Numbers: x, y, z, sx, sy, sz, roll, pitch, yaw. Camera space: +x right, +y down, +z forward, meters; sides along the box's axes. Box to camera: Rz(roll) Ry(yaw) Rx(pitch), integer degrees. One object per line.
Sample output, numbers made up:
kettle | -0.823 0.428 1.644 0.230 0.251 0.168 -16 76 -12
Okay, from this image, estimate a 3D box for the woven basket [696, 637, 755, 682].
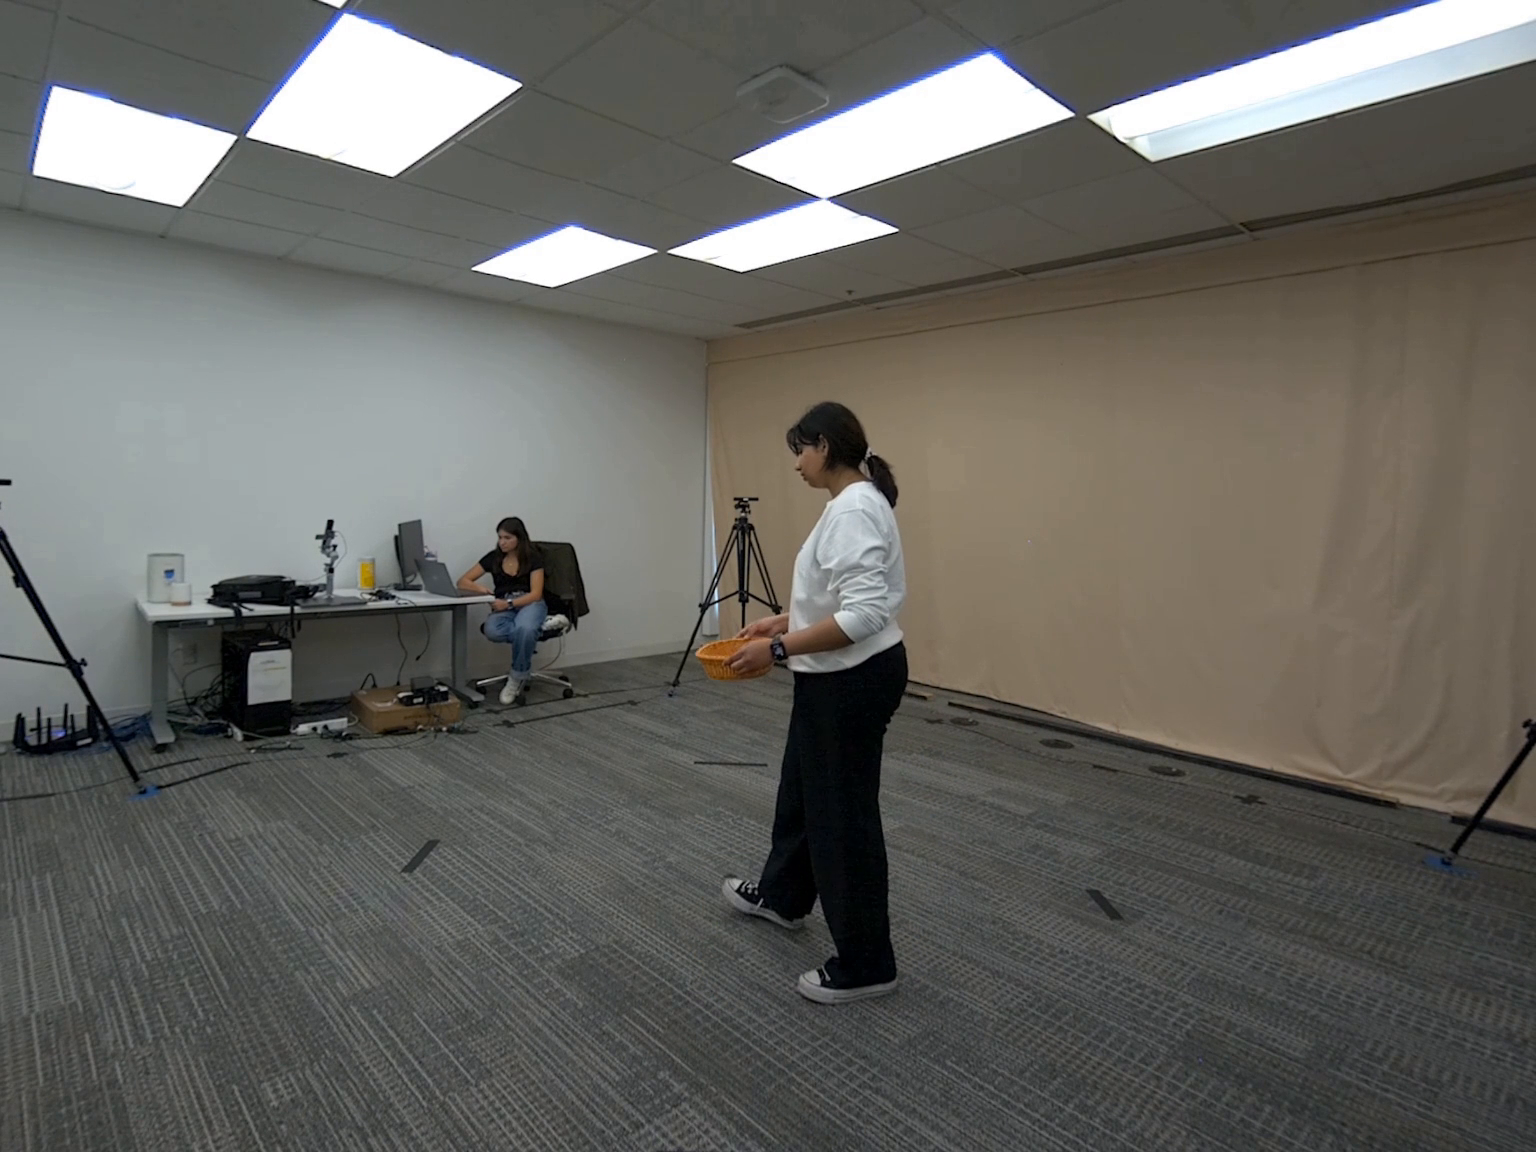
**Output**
woven basket | -0.073 0.249 2.471 0.254 0.073 0.348 -2 4 9
